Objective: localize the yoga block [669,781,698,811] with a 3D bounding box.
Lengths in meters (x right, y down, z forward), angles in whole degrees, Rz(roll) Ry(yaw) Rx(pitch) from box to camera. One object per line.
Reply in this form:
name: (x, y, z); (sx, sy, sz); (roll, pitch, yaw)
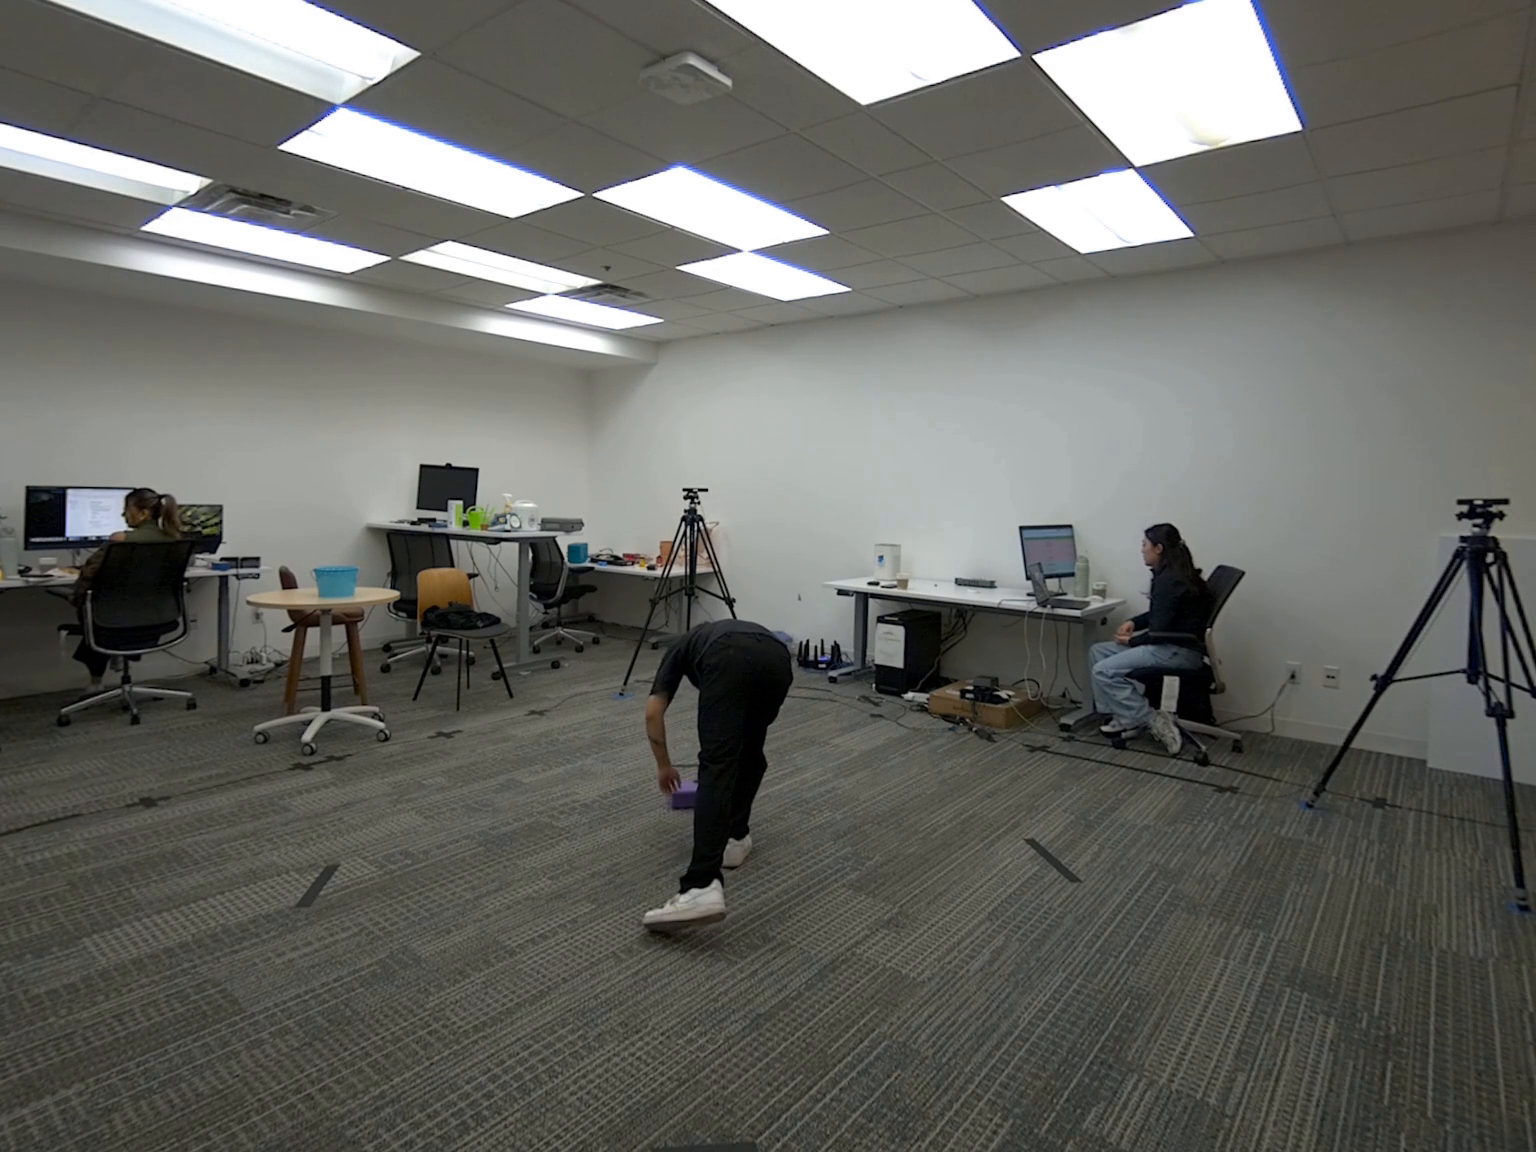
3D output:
yoga block: (-0.330, 0.962, 3.769); (0.227, 0.076, 0.151); (0, 4, -8)
